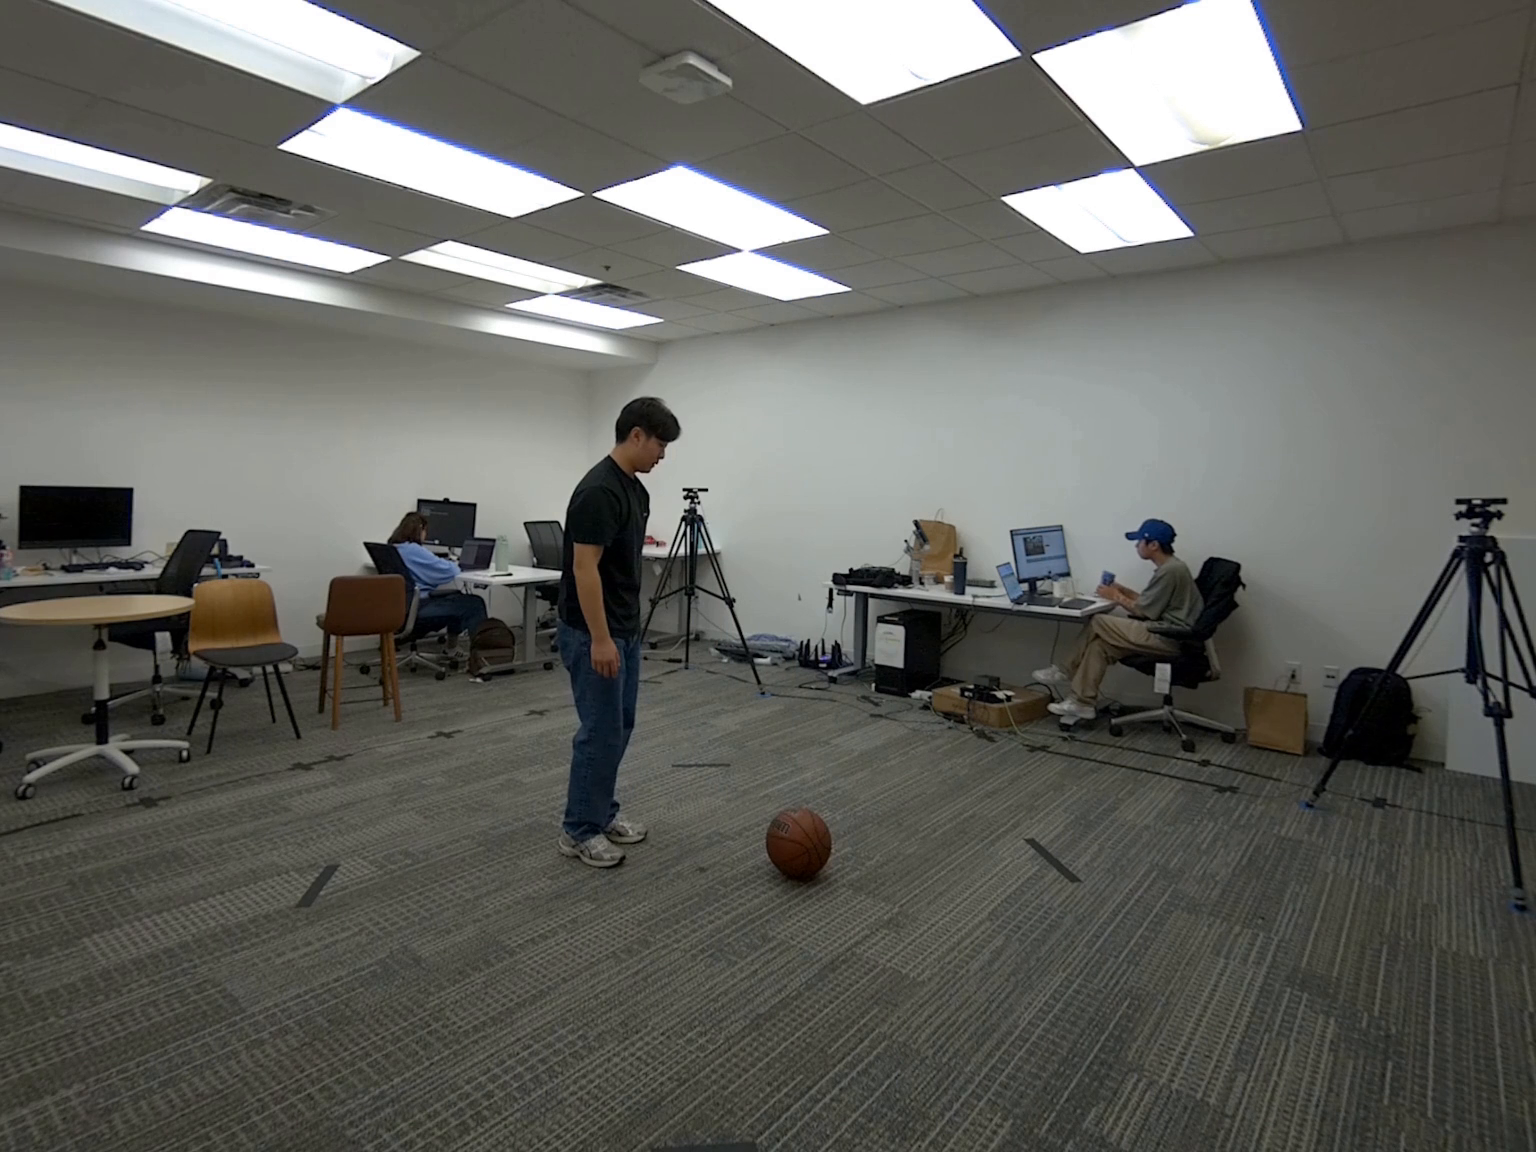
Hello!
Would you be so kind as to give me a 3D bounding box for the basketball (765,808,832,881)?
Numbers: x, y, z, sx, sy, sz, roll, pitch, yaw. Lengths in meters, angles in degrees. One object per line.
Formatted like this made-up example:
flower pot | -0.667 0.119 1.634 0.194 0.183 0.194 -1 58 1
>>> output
basketball | 0.099 0.957 3.075 0.235 0.235 0.237 1 4 -2
